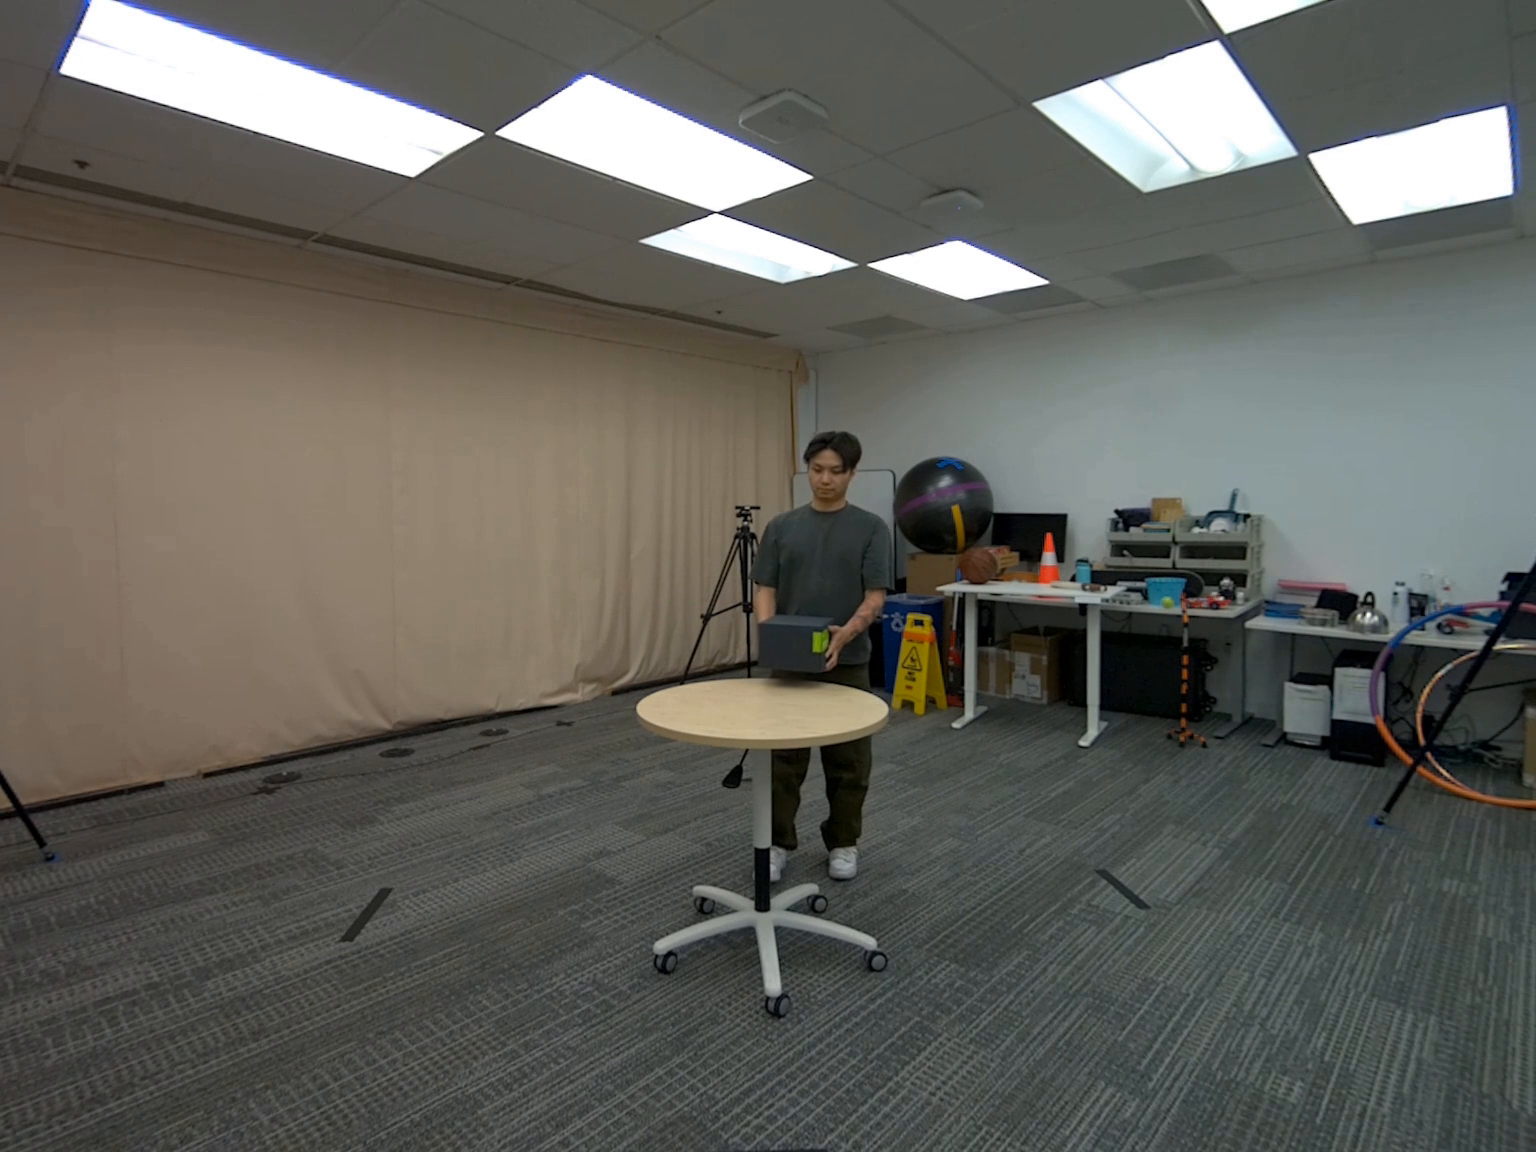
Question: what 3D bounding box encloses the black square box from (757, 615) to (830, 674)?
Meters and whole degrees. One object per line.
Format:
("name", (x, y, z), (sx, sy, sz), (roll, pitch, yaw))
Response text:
("black square box", (0.097, 0.226, 2.884), (0.220, 0.155, 0.224), (2, 4, 14))
